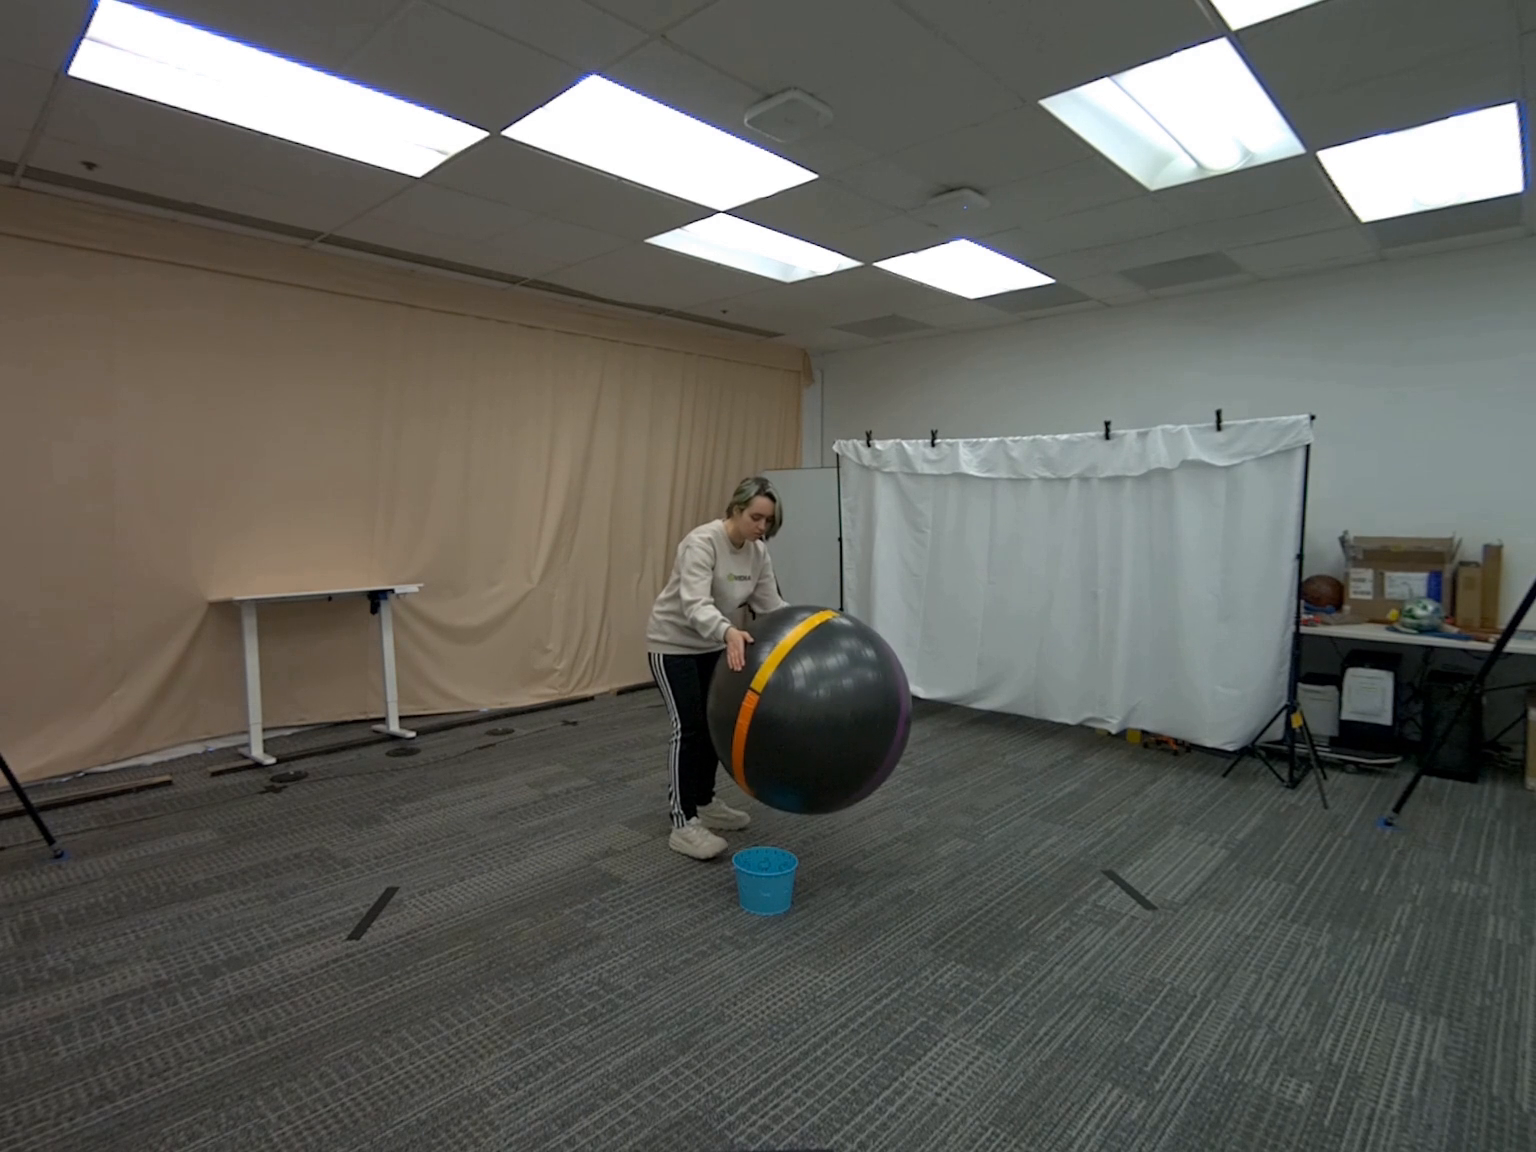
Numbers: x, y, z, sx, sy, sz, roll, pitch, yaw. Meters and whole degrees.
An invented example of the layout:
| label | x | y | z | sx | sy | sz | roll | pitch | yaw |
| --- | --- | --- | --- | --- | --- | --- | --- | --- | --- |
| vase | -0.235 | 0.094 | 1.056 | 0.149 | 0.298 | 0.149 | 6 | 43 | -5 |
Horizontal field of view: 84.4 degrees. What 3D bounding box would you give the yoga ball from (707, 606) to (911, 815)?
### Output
| label | x | y | z | sx | sy | sz | roll | pitch | yaw |
| --- | --- | --- | --- | --- | --- | --- | --- | --- | --- |
| yoga ball | 0.155 | 0.504 | 3.130 | 0.757 | 0.756 | 0.760 | 0 | 4 | -2 |
